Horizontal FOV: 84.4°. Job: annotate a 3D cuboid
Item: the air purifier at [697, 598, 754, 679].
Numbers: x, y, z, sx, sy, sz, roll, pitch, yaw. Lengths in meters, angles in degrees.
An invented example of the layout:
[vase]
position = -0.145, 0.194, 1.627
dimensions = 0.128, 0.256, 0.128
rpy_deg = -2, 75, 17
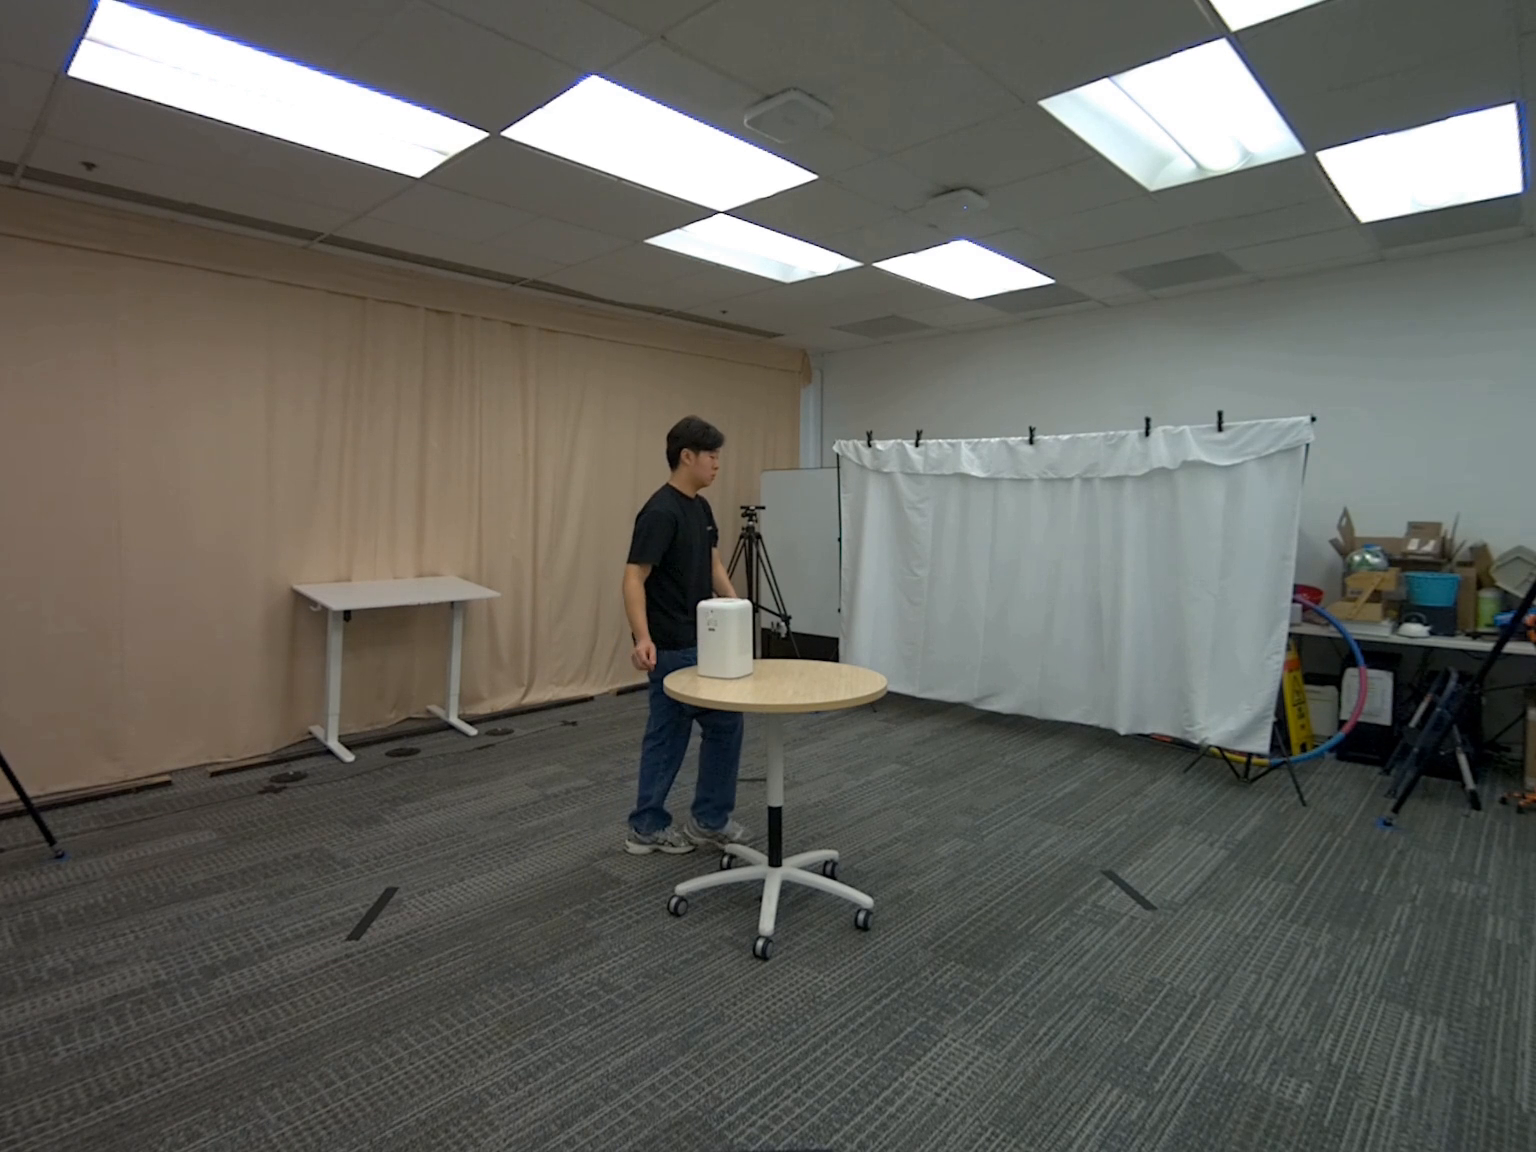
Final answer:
[air purifier]
position = -0.150, 0.216, 2.990
dimensions = 0.176, 0.265, 0.167
rpy_deg = 2, 3, 31
